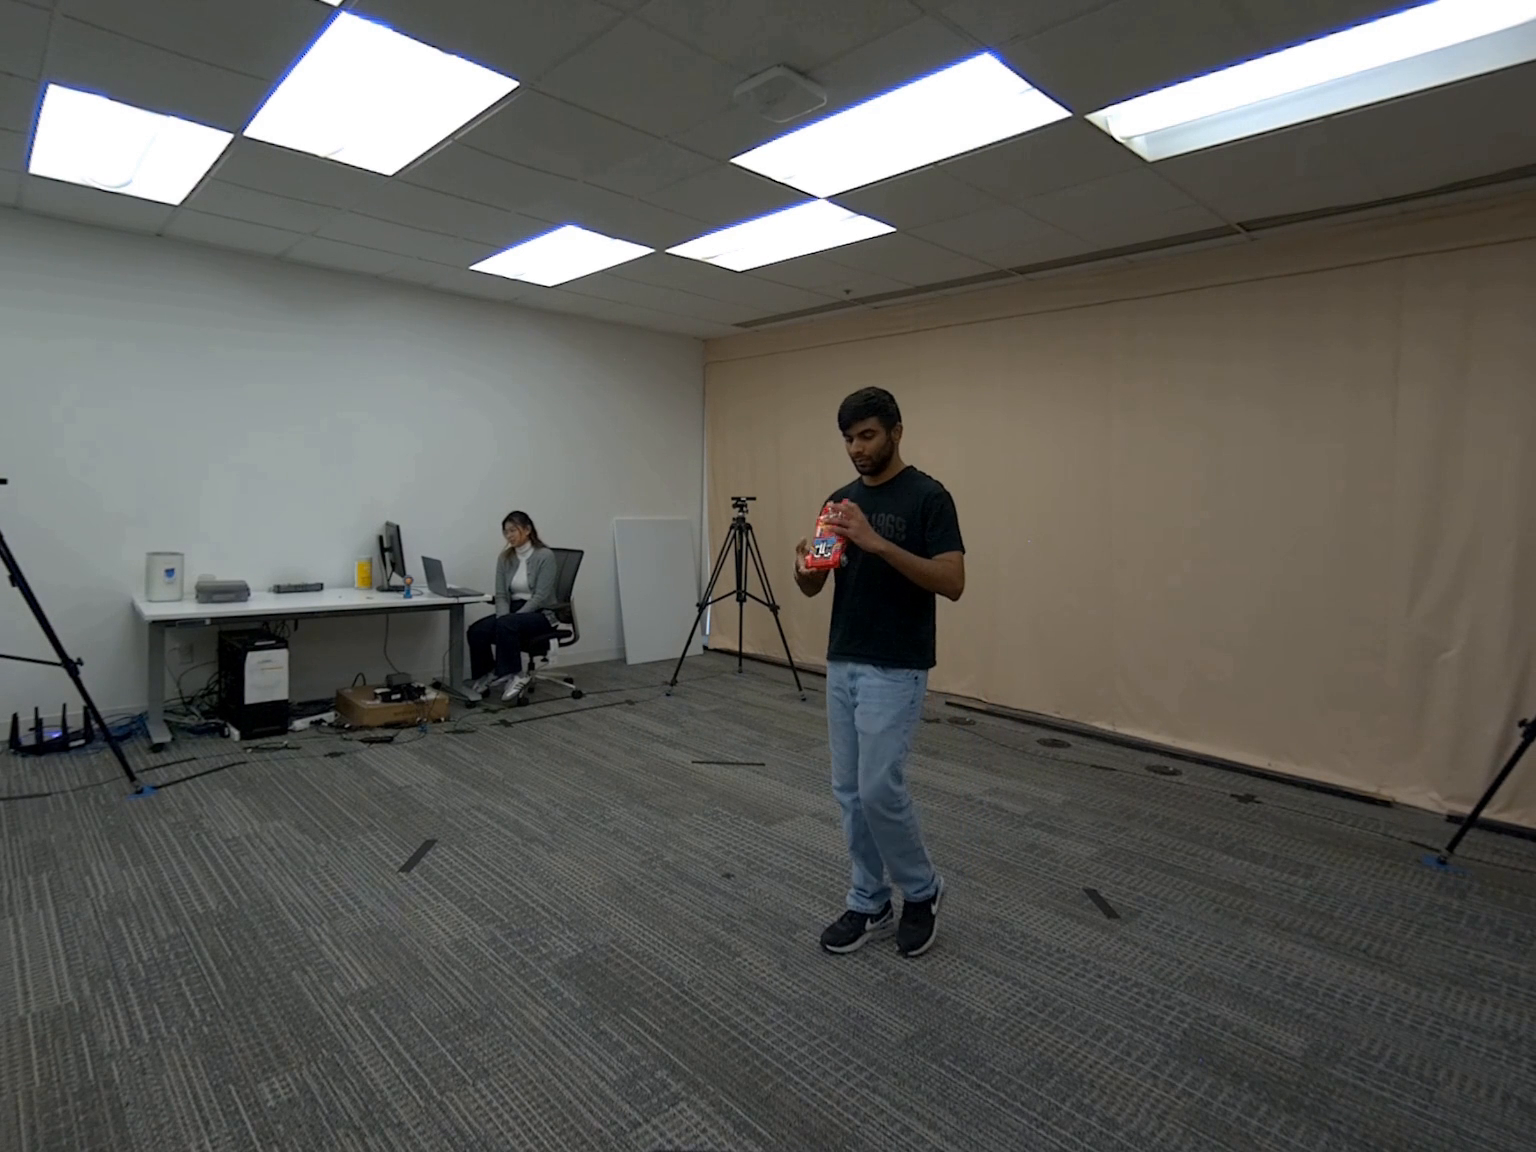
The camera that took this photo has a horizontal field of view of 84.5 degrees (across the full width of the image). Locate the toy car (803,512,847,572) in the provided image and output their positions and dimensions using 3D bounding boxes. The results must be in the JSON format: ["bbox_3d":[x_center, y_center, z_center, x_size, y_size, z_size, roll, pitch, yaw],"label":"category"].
[{"bbox_3d":[0.182,-0.116,2.452,0.133,0.258,0.080,-7,-35,32],"label":"toy car"}]
